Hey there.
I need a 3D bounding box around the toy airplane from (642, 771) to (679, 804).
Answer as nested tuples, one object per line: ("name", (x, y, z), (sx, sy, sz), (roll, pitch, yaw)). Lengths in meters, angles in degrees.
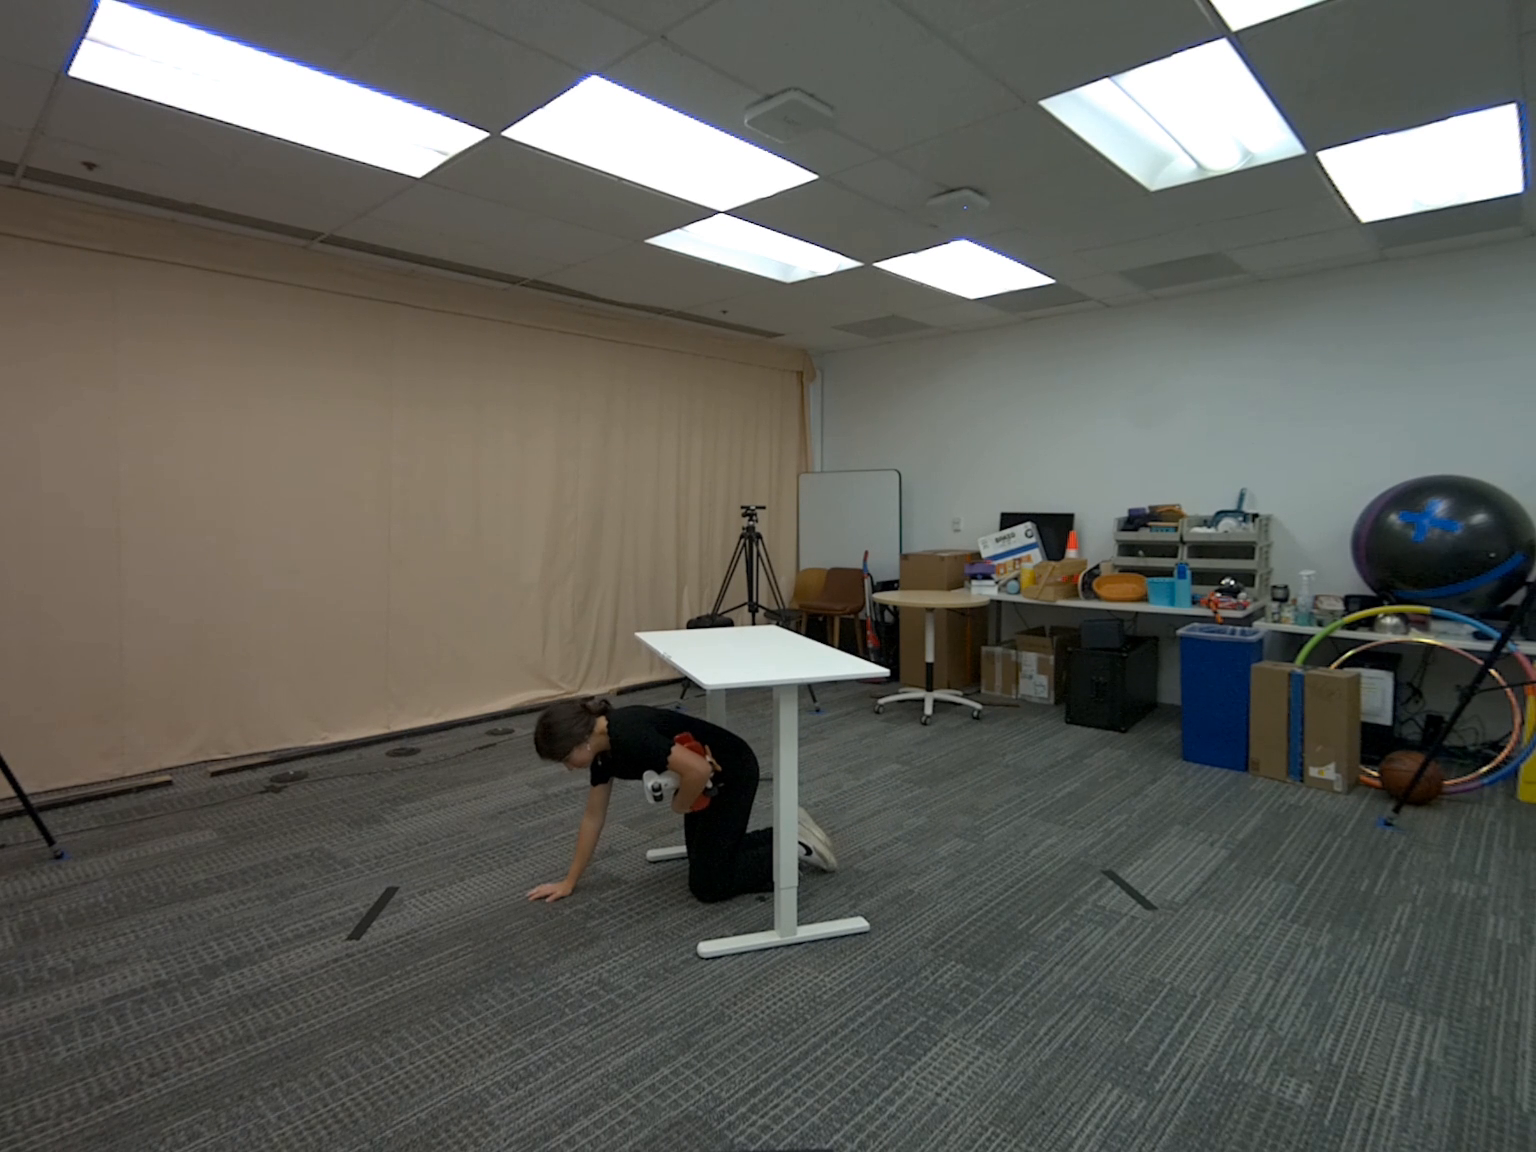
("toy airplane", (-0.297, 0.663, 2.864), (0.254, 0.250, 0.160), (15, 9, -17))
